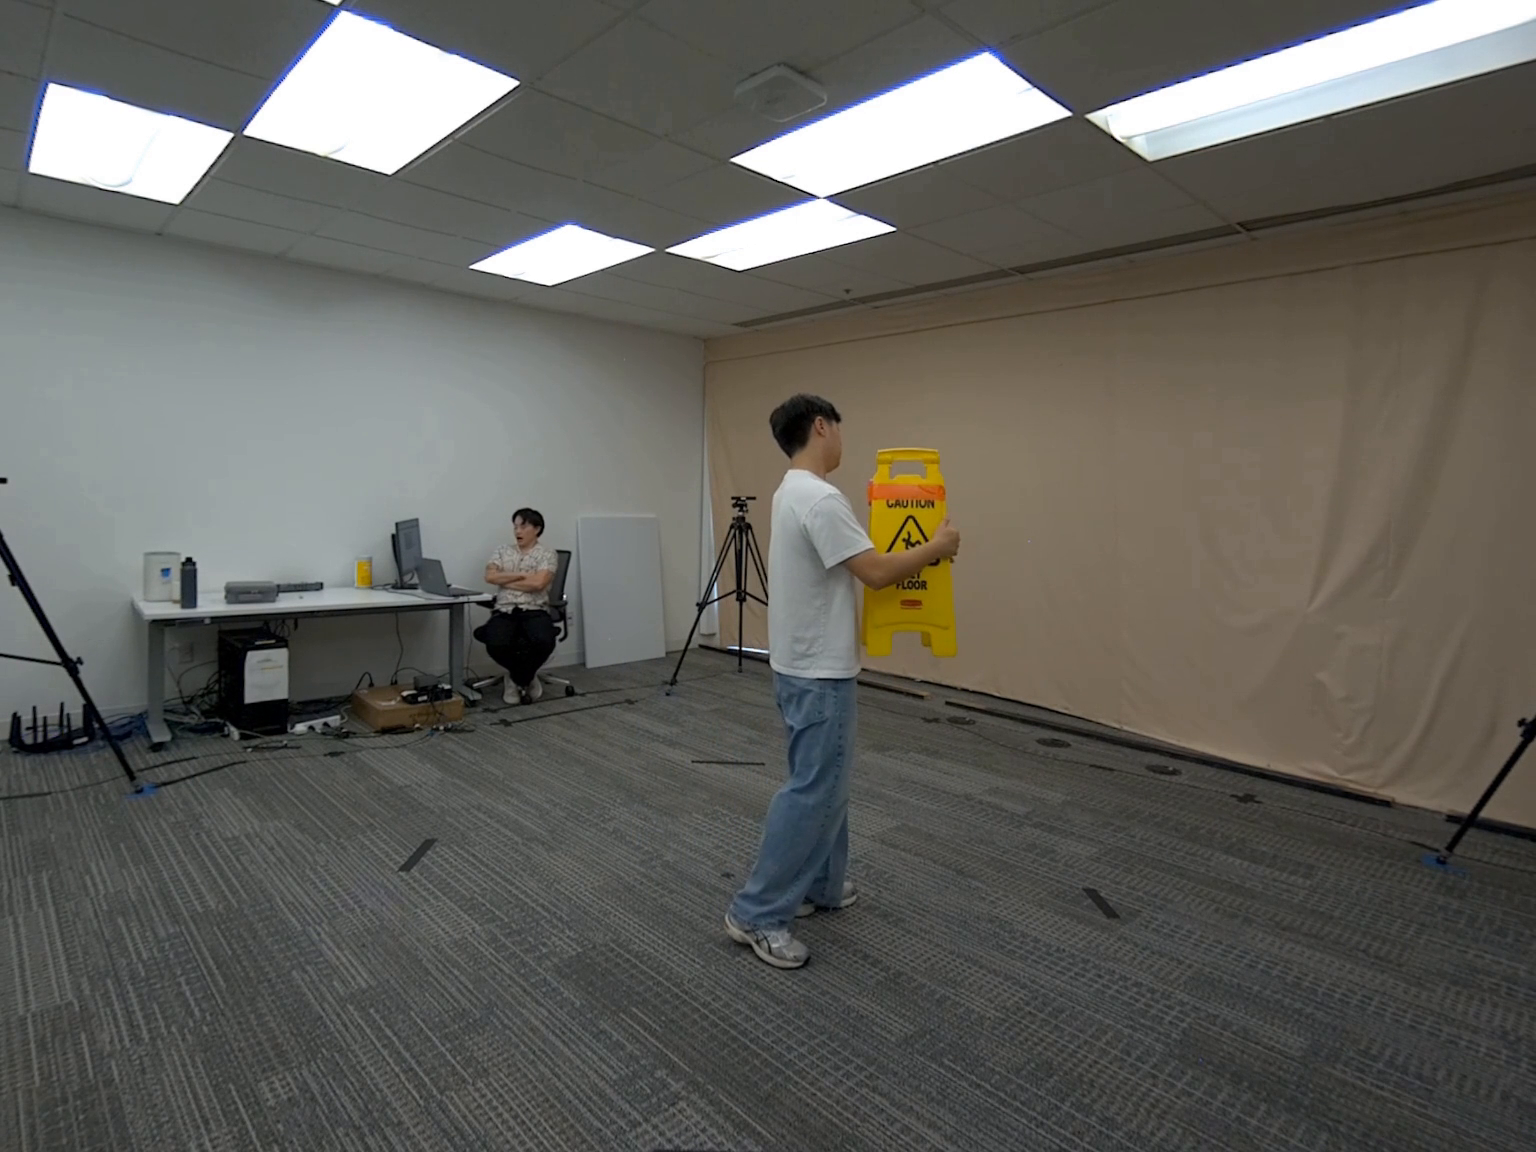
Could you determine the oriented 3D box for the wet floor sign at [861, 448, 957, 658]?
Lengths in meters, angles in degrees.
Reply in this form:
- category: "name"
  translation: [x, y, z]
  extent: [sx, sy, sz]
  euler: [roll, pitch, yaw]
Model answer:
- category: "wet floor sign"
  translation: [0.448, -0.082, 2.702]
  extent: [0.283, 0.645, 0.289]
  euler: [-1, 2, 3]
